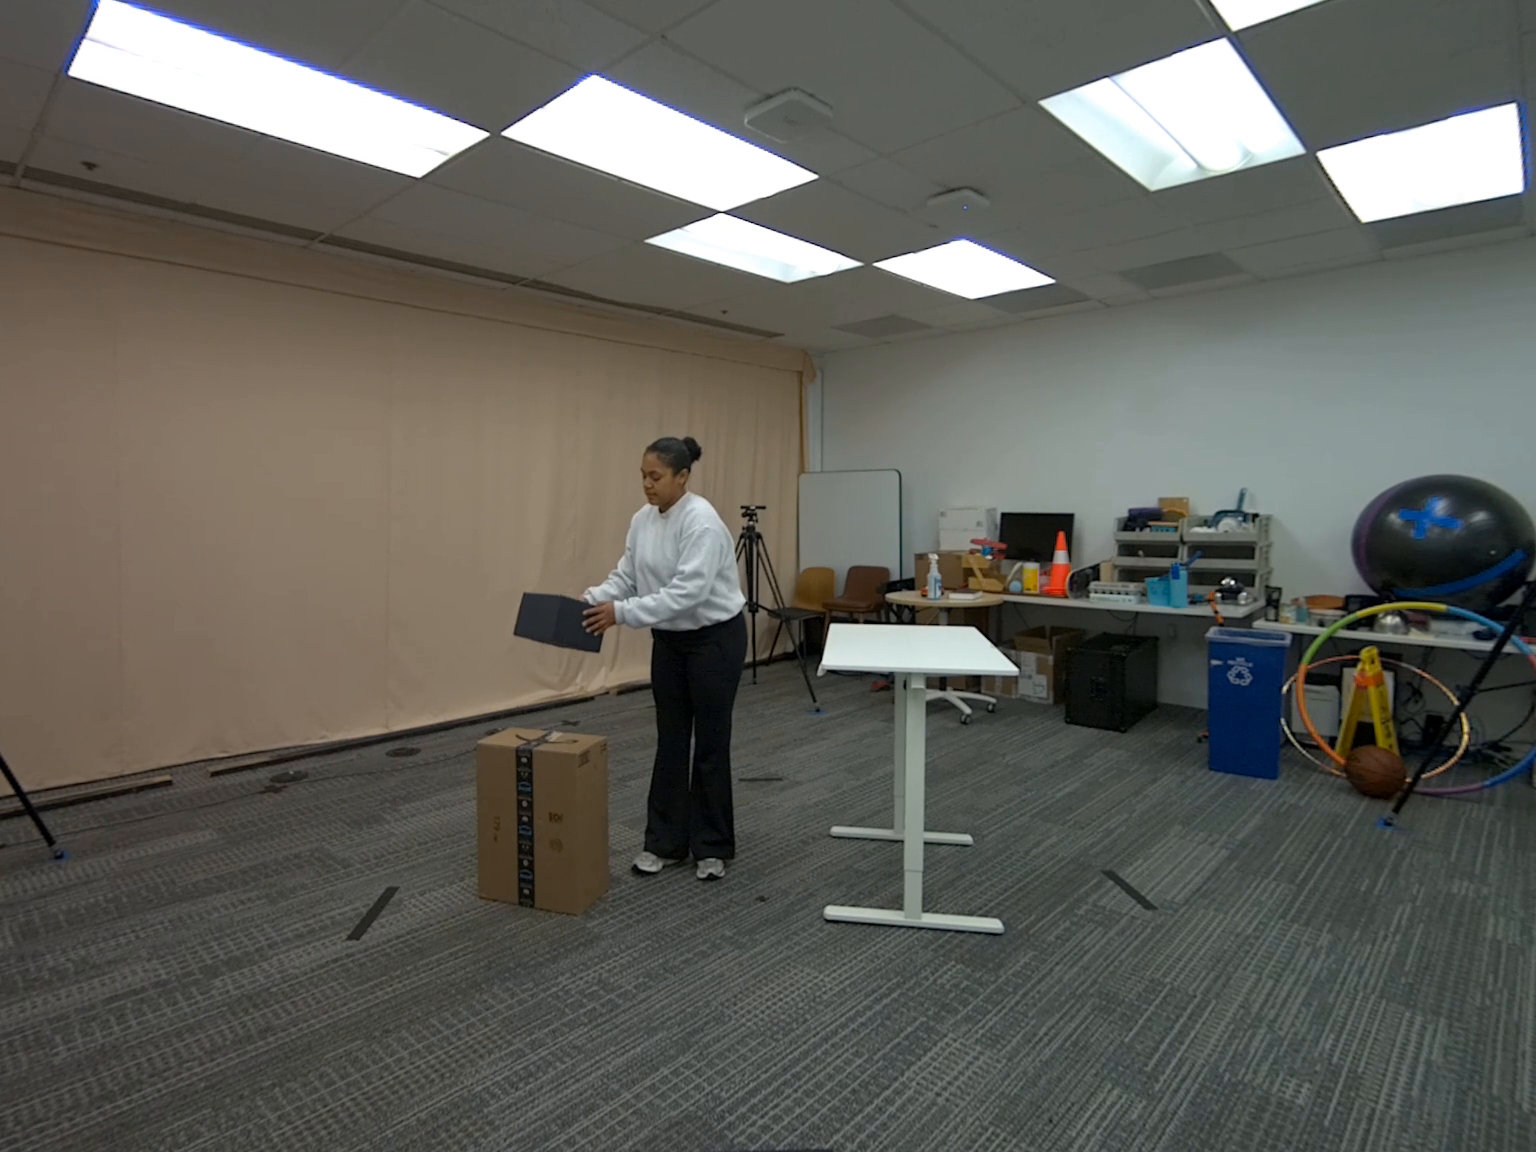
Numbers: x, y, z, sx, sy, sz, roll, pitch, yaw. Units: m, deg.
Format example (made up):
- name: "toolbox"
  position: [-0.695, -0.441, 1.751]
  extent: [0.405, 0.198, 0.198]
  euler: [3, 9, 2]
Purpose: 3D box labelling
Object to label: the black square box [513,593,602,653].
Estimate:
- name: "black square box"
  position: [-0.715, 0.166, 2.917]
  extent: [0.235, 0.156, 0.209]
  euler: [3, -12, 41]
